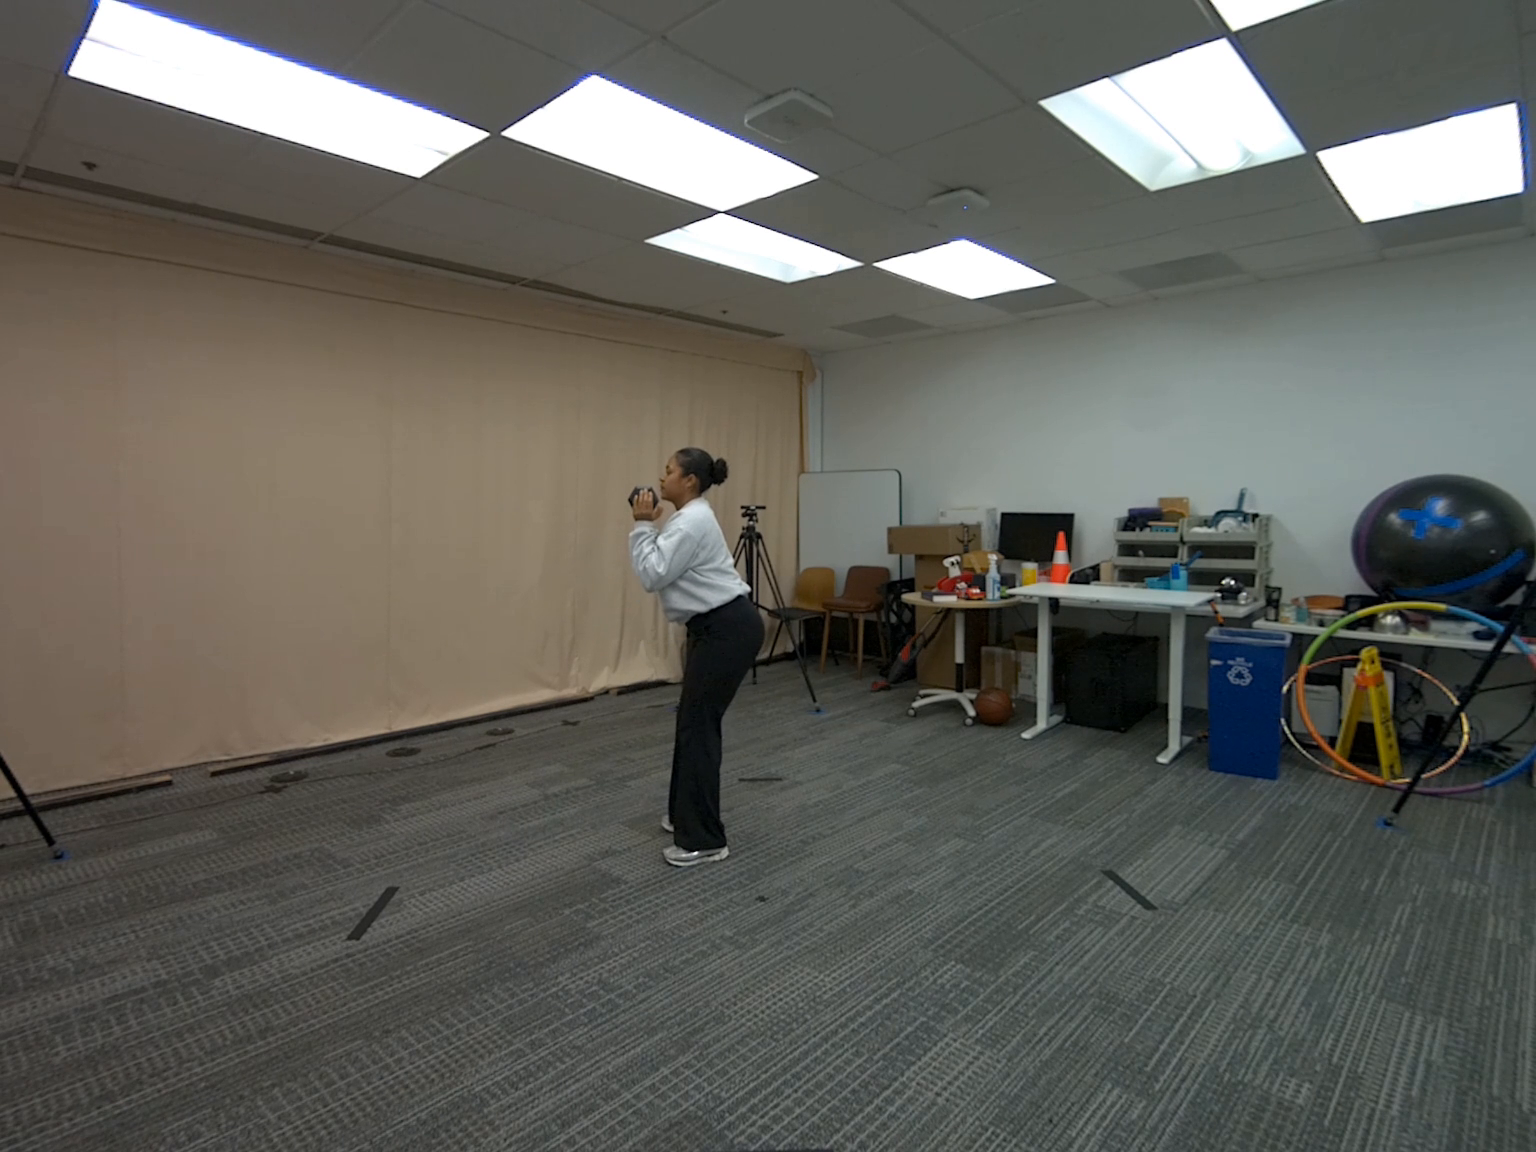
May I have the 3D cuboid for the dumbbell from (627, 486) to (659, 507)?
[{"bbox_3d":[-0.499,-0.289,3.426,0.108,0.123,0.295,35,-2,-6],"label":"dumbbell"}]
